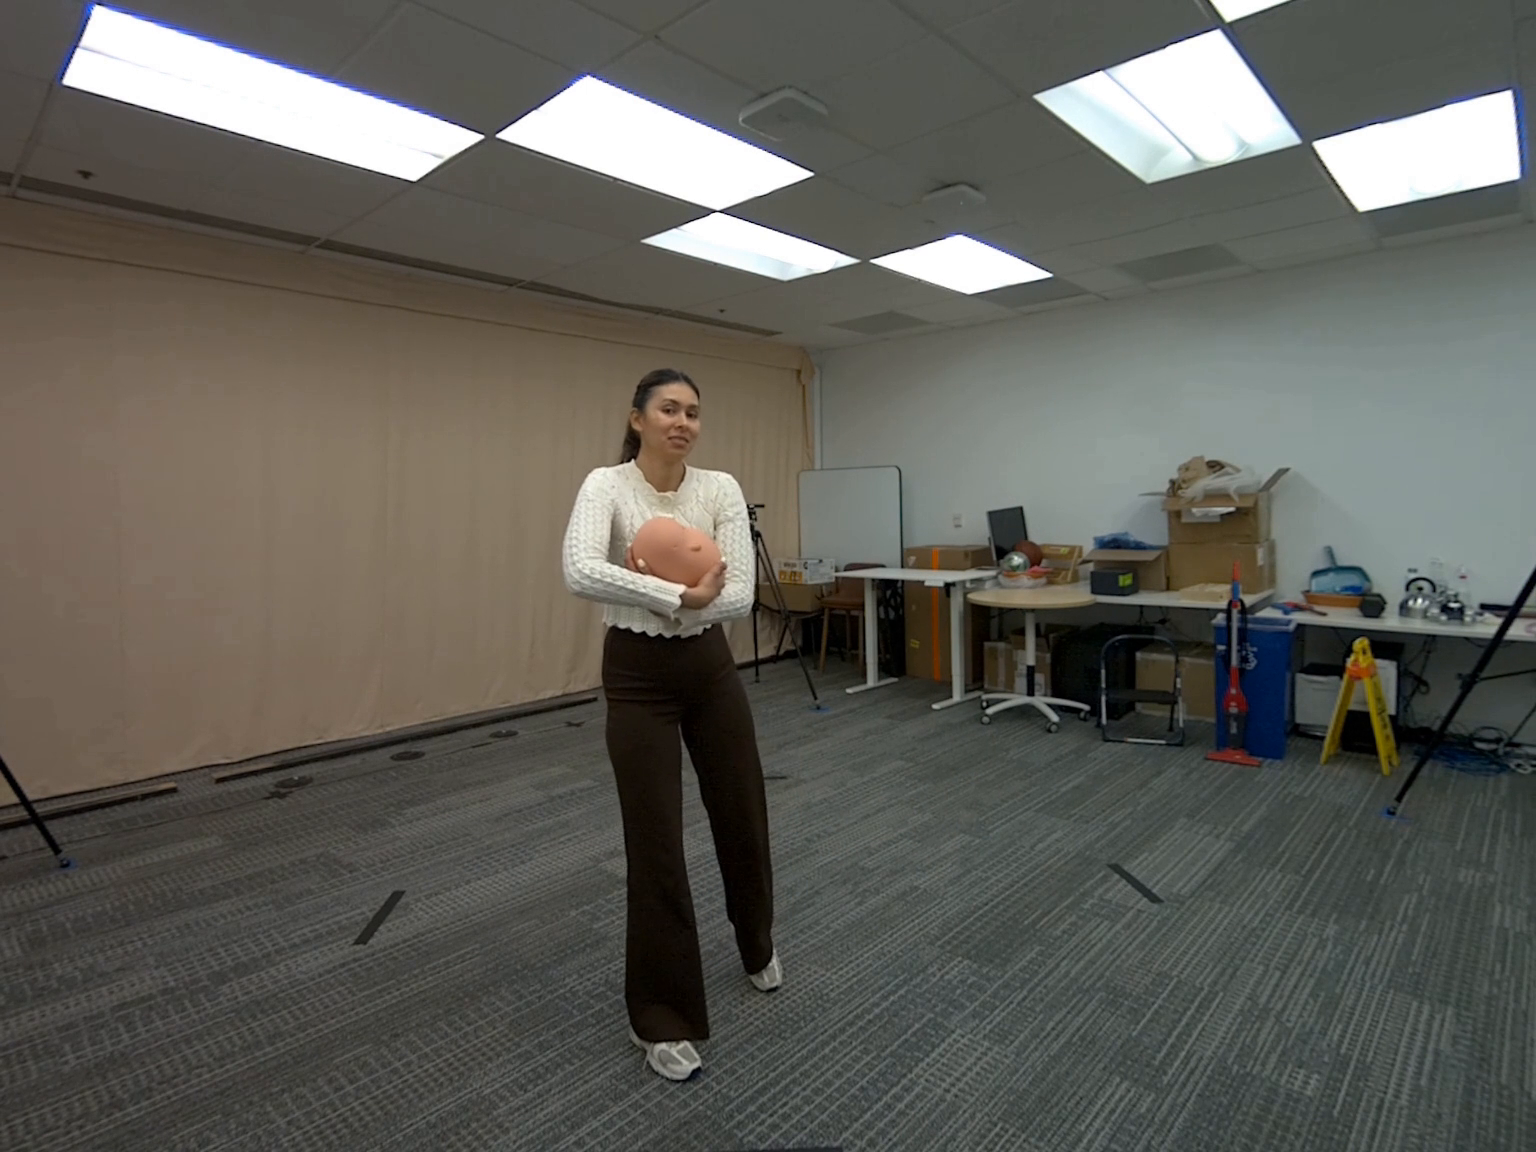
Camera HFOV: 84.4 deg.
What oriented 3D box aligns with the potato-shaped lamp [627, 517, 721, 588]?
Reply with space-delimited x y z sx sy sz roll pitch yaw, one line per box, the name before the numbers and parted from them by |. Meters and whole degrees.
potato-shaped lamp | -0.208 -0.046 1.899 0.192 0.171 0.170 46 0 -30
